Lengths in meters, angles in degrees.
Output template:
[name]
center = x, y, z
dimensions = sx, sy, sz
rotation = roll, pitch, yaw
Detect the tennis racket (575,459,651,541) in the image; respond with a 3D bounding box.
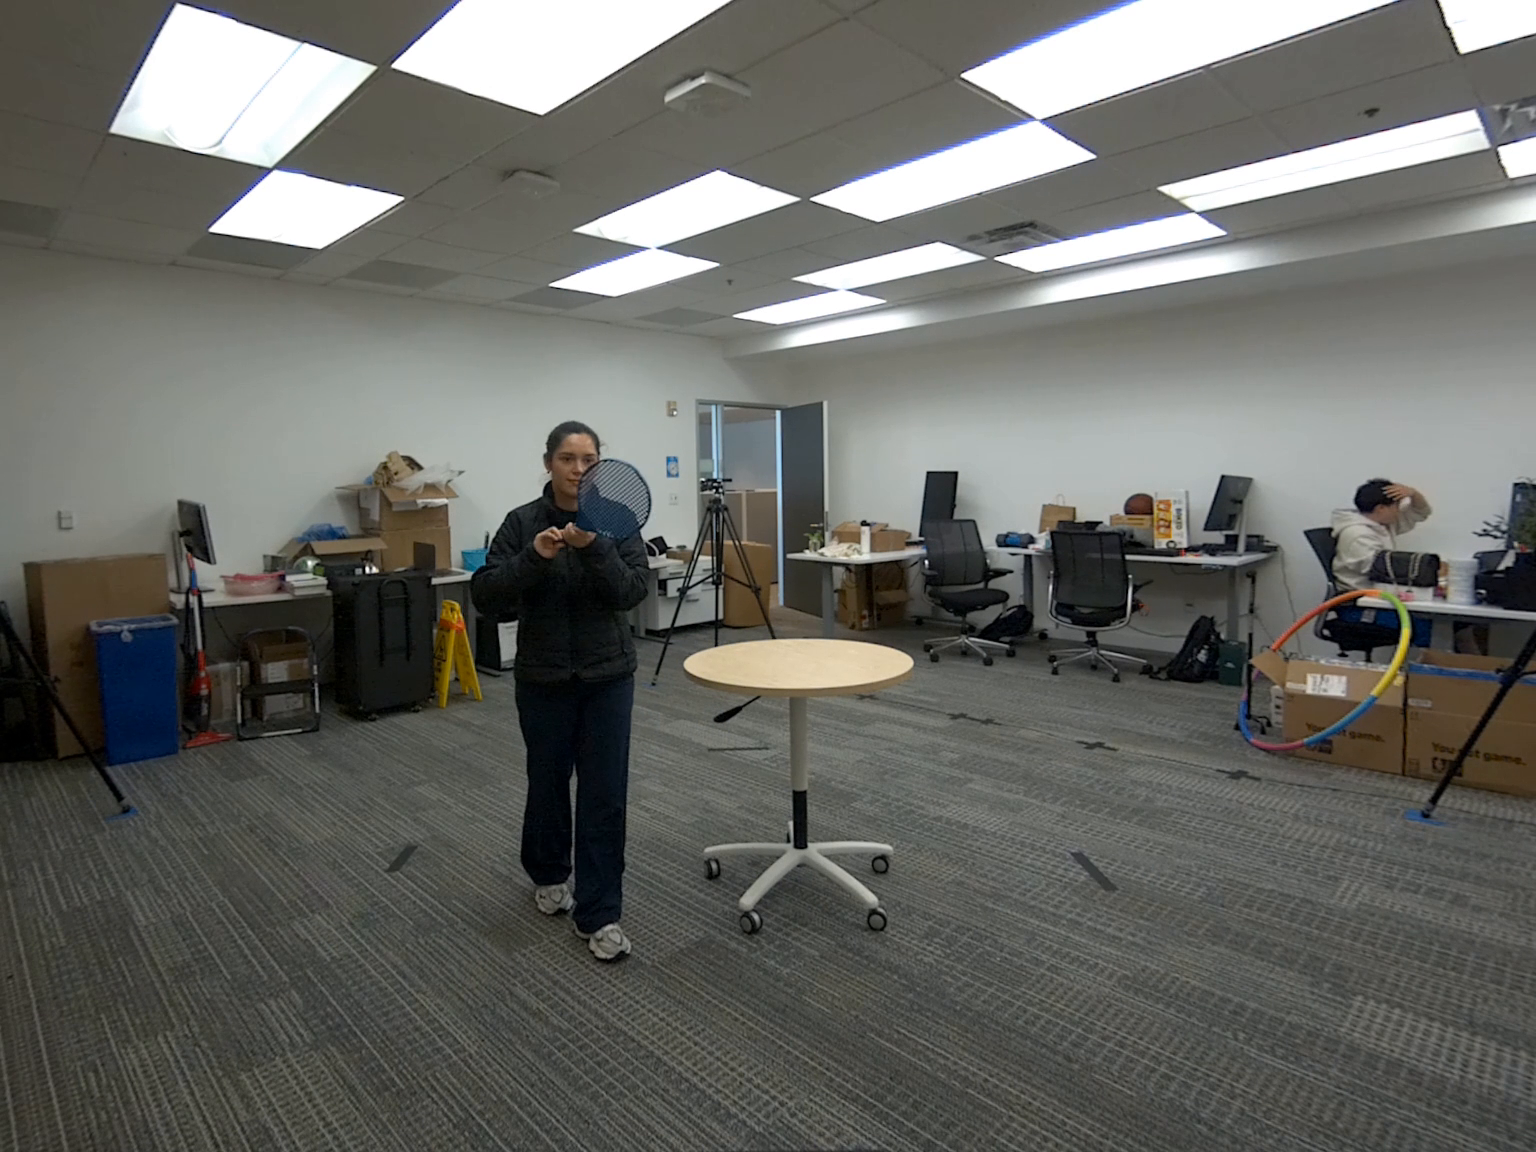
[tennis racket]
center = -0.473, -0.165, 2.298
dimensions = 0.436, 0.213, 0.031
rotation = -34, 3, 34
